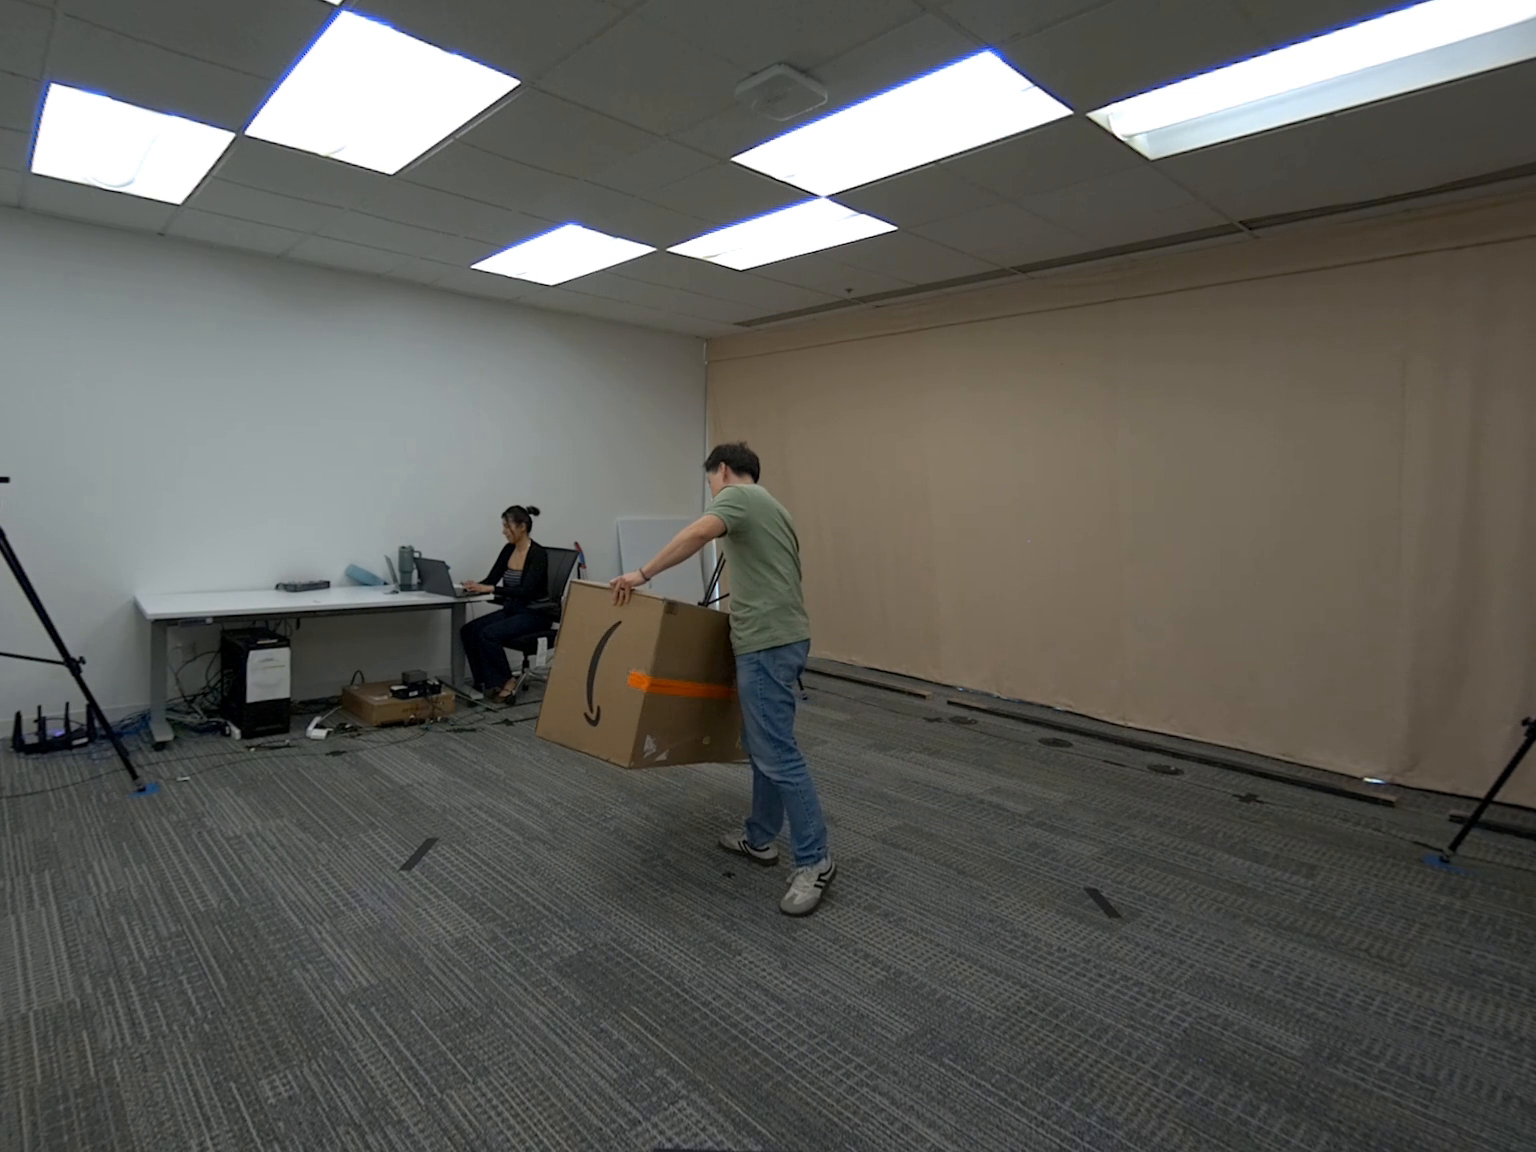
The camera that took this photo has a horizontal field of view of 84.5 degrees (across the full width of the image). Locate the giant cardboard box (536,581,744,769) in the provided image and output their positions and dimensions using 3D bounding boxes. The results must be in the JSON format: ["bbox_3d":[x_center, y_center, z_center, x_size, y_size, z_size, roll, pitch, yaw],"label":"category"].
[{"bbox_3d":[-0.359,0.395,3.324,0.436,0.579,1.000,10,-4,27],"label":"giant cardboard box"}]
